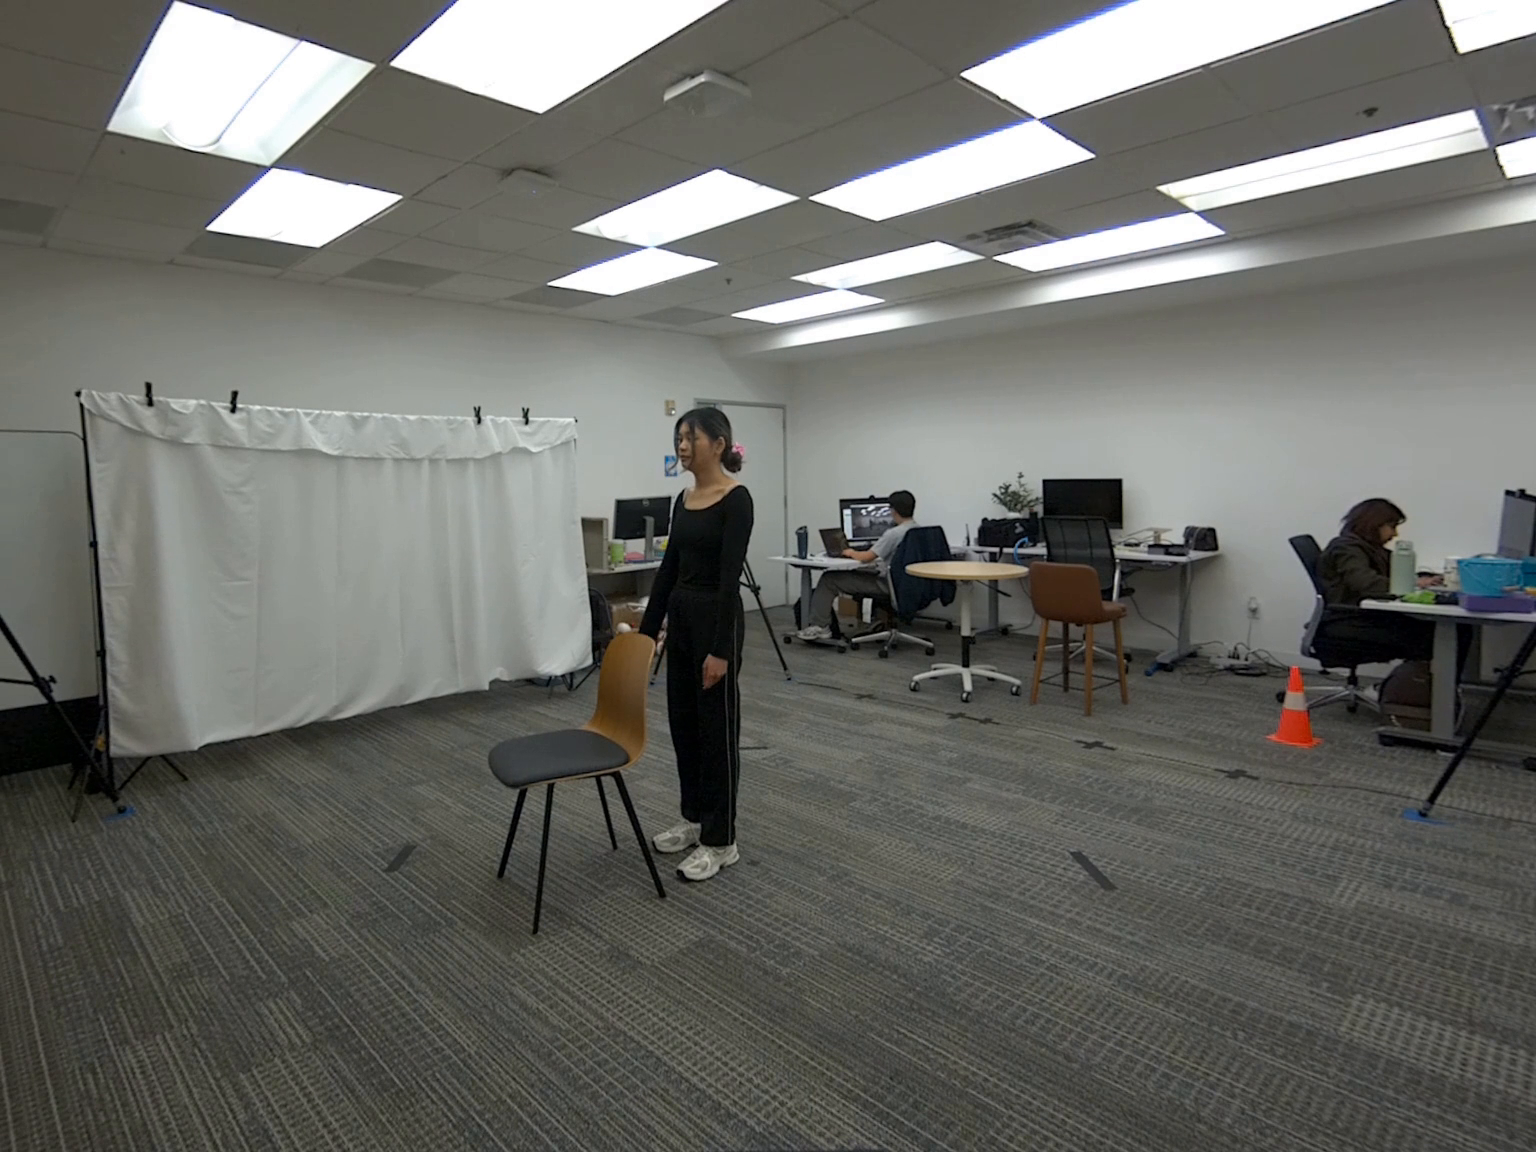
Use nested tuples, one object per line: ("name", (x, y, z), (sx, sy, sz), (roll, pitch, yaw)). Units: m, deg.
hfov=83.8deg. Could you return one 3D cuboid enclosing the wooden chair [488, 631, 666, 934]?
("wooden chair", (-0.664, 0.651, 2.901), (0.510, 0.876, 0.491), (1, 3, -30))
